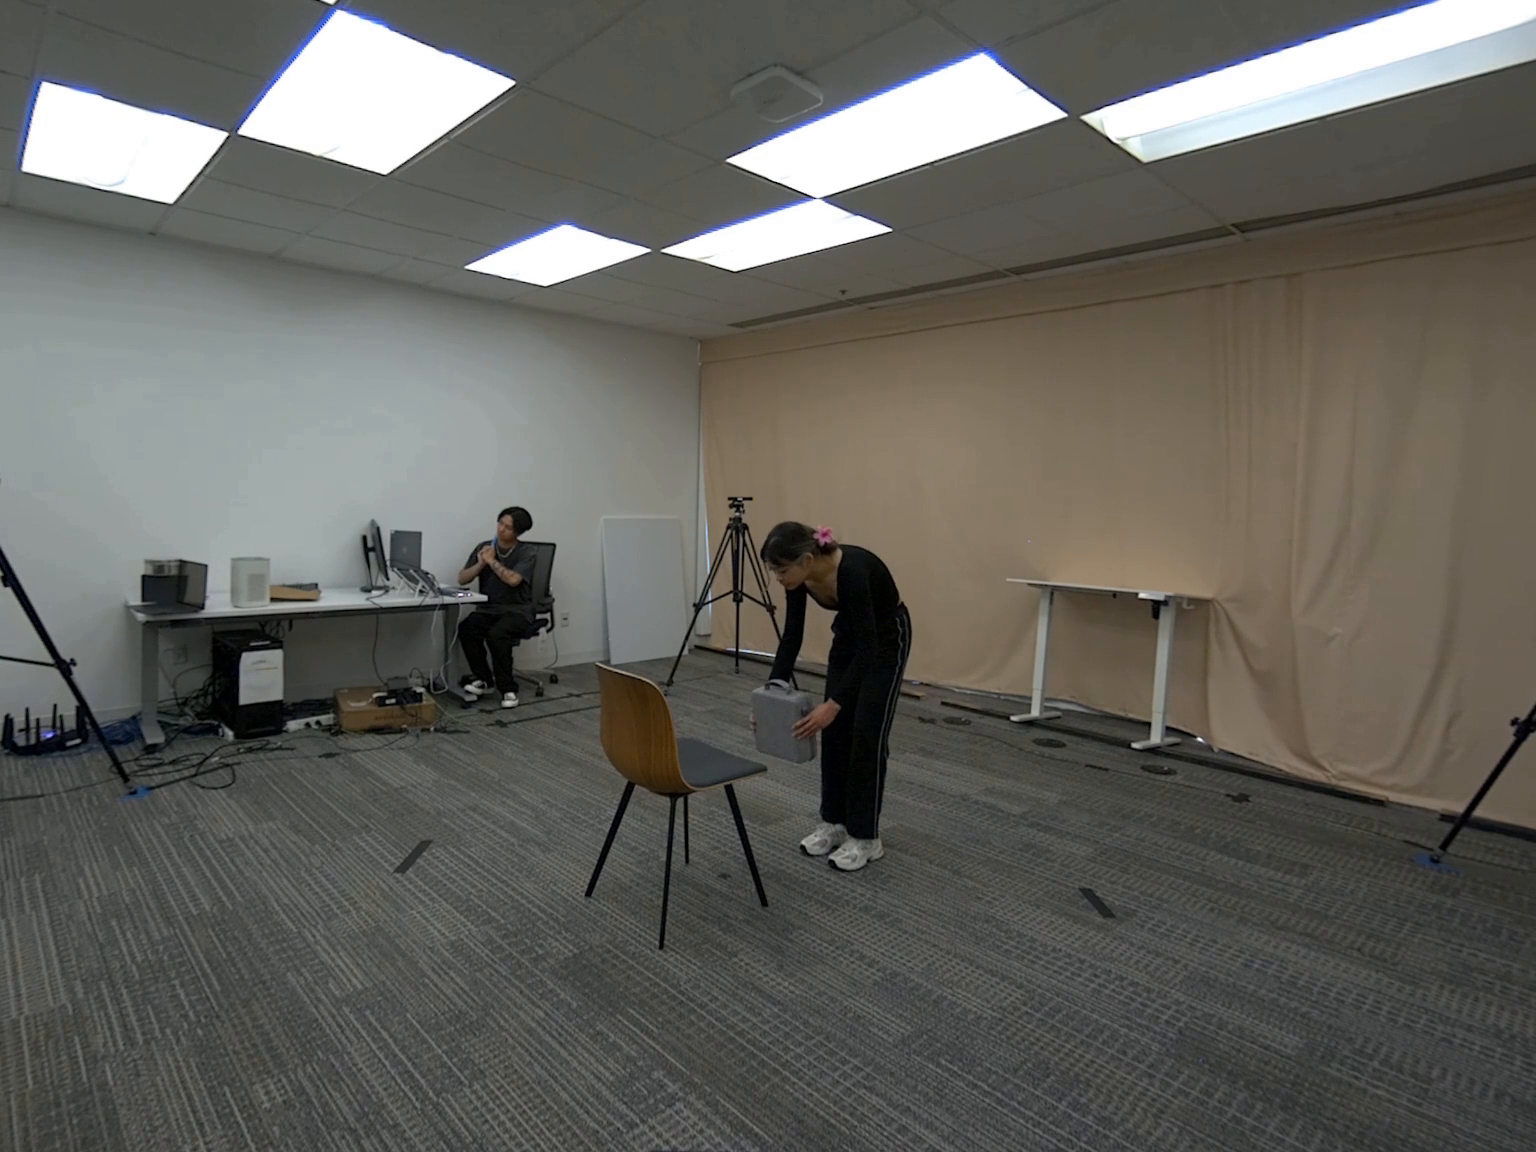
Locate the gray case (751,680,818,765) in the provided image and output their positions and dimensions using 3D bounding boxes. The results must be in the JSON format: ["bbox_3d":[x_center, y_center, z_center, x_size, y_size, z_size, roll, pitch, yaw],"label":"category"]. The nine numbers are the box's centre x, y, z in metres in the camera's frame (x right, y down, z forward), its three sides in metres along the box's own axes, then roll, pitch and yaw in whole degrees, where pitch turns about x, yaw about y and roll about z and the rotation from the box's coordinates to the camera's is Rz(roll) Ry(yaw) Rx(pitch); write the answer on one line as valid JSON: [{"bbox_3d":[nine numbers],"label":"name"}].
[{"bbox_3d":[0.053,0.551,3.139,0.102,0.259,0.263,-11,8,-39],"label":"gray case"}]
